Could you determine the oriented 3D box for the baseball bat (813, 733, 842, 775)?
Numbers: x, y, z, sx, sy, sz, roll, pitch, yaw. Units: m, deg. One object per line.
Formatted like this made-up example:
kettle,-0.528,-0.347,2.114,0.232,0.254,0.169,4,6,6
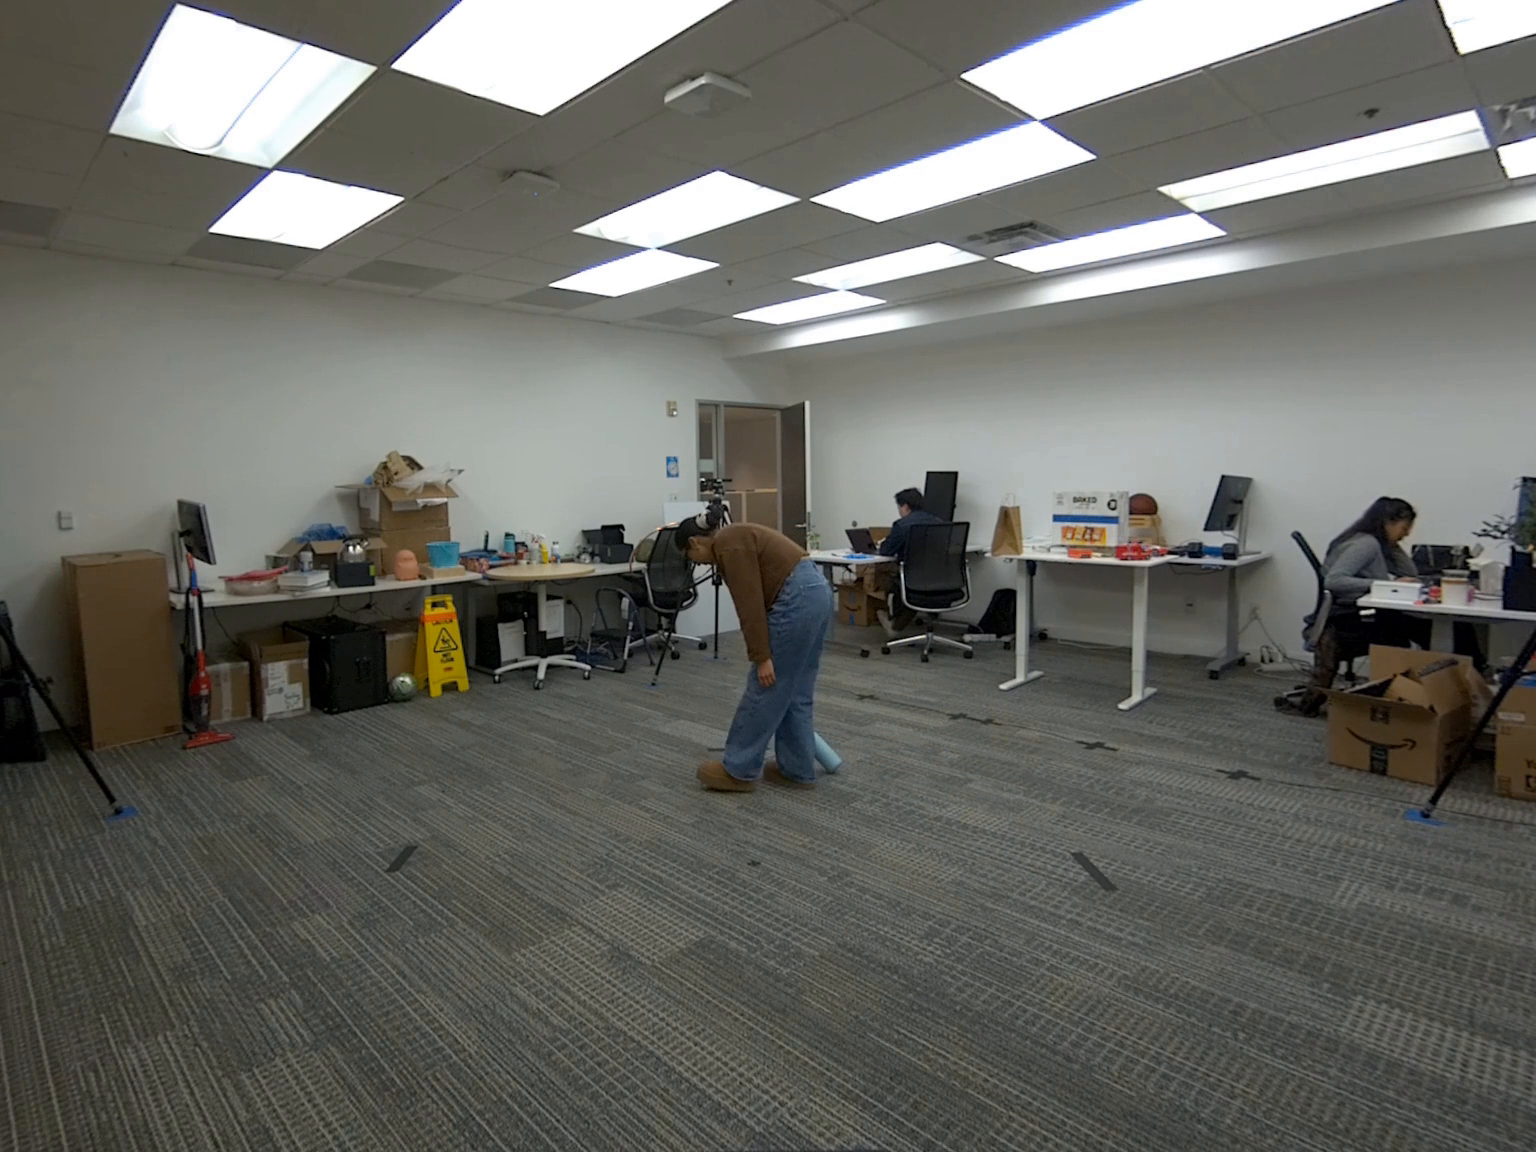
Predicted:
baseball bat,0.148,0.724,4.121,0.556,0.089,0.087,47,23,18
